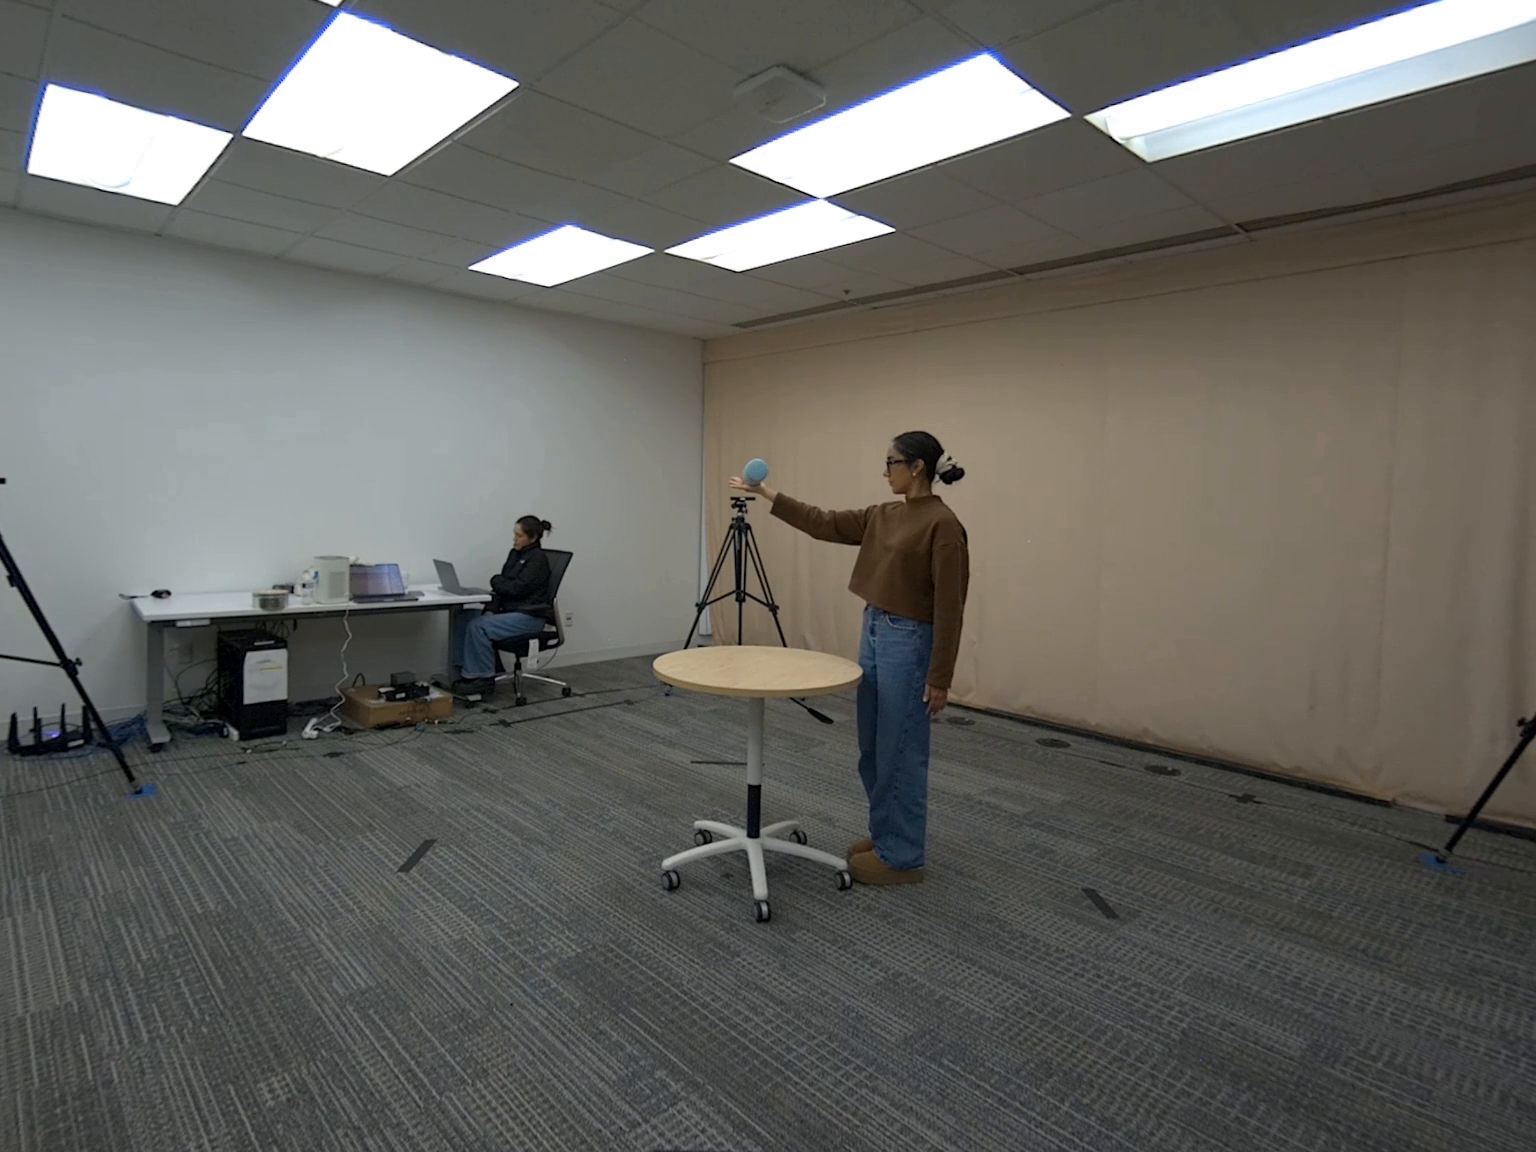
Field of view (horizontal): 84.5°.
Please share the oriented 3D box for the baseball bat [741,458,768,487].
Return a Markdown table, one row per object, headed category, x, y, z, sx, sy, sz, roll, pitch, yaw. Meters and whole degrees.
| category | x | y | z | sx | sy | sz | roll | pitch | yaw |
| --- | --- | --- | --- | --- | --- | --- | --- | --- | --- |
| baseball bat | -0.079 | -0.402 | 3.417 | 0.089 | 0.089 | 0.545 | 1 | 1 | -6 |
